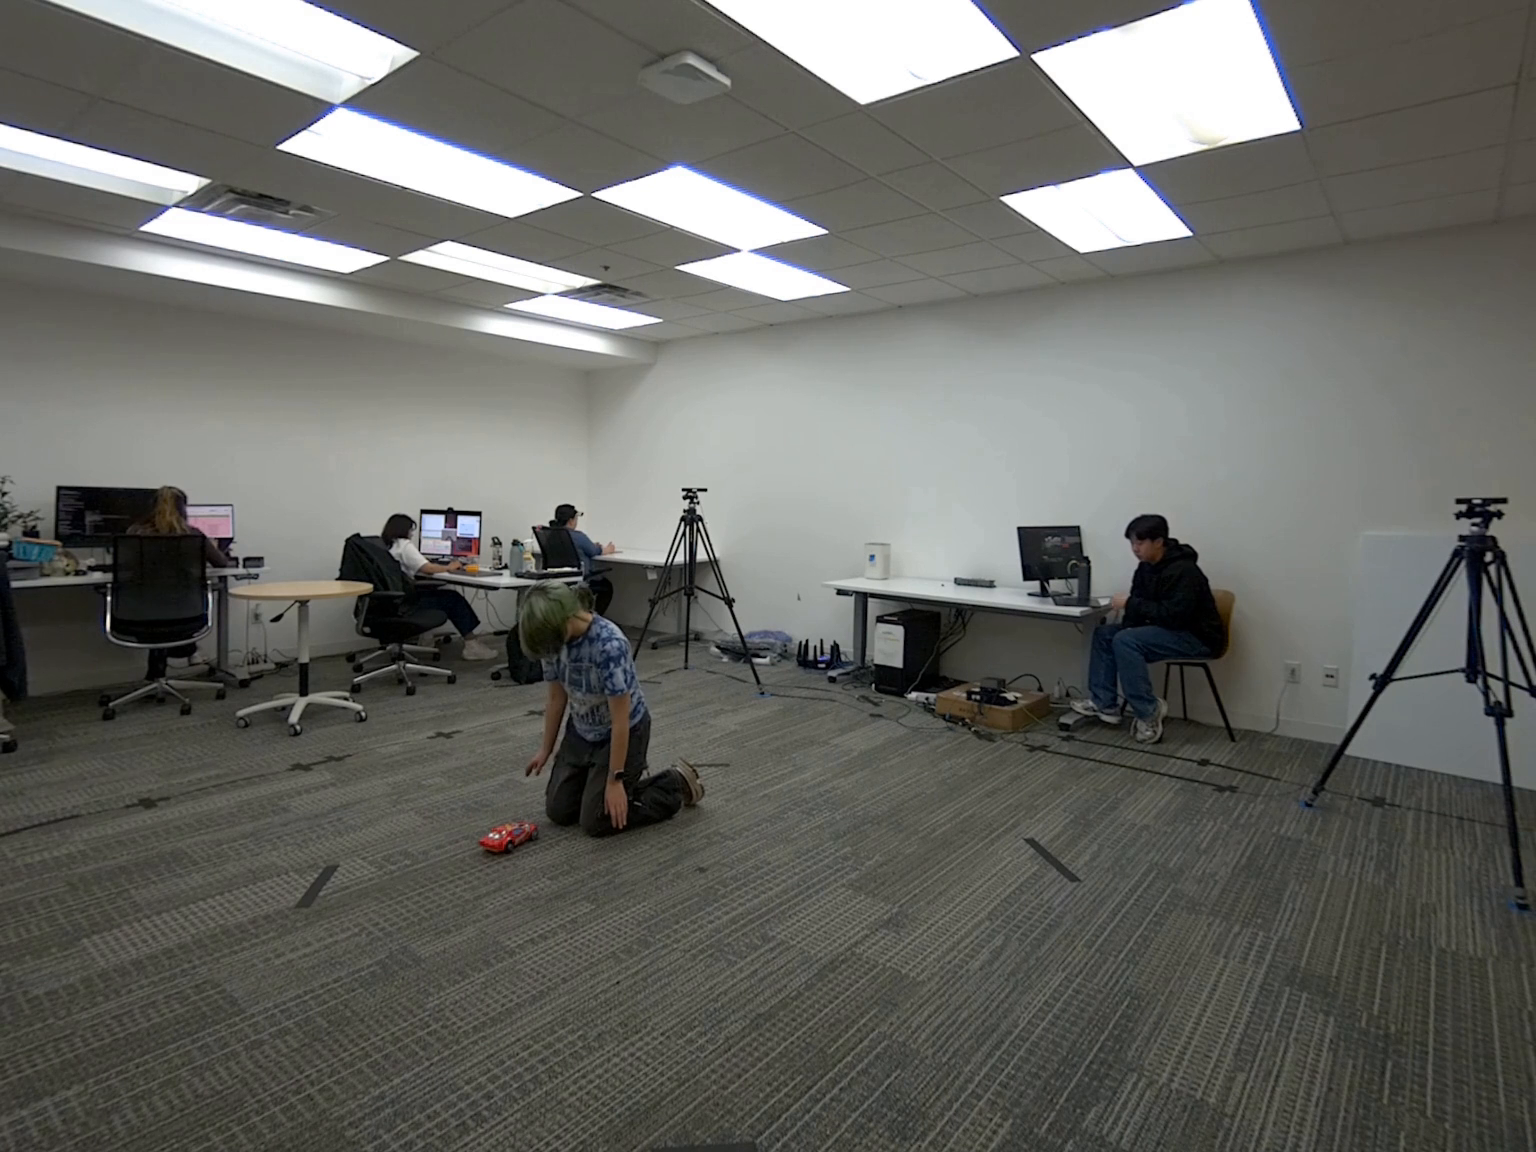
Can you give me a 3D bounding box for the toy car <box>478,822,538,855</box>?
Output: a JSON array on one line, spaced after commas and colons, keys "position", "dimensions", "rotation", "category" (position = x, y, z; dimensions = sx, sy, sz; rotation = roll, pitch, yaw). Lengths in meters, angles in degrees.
[{"position": [-1.025, 1.010, 3.284], "dimensions": [0.133, 0.084, 0.246], "rotation": [2, -6, 25], "category": "toy car"}]
